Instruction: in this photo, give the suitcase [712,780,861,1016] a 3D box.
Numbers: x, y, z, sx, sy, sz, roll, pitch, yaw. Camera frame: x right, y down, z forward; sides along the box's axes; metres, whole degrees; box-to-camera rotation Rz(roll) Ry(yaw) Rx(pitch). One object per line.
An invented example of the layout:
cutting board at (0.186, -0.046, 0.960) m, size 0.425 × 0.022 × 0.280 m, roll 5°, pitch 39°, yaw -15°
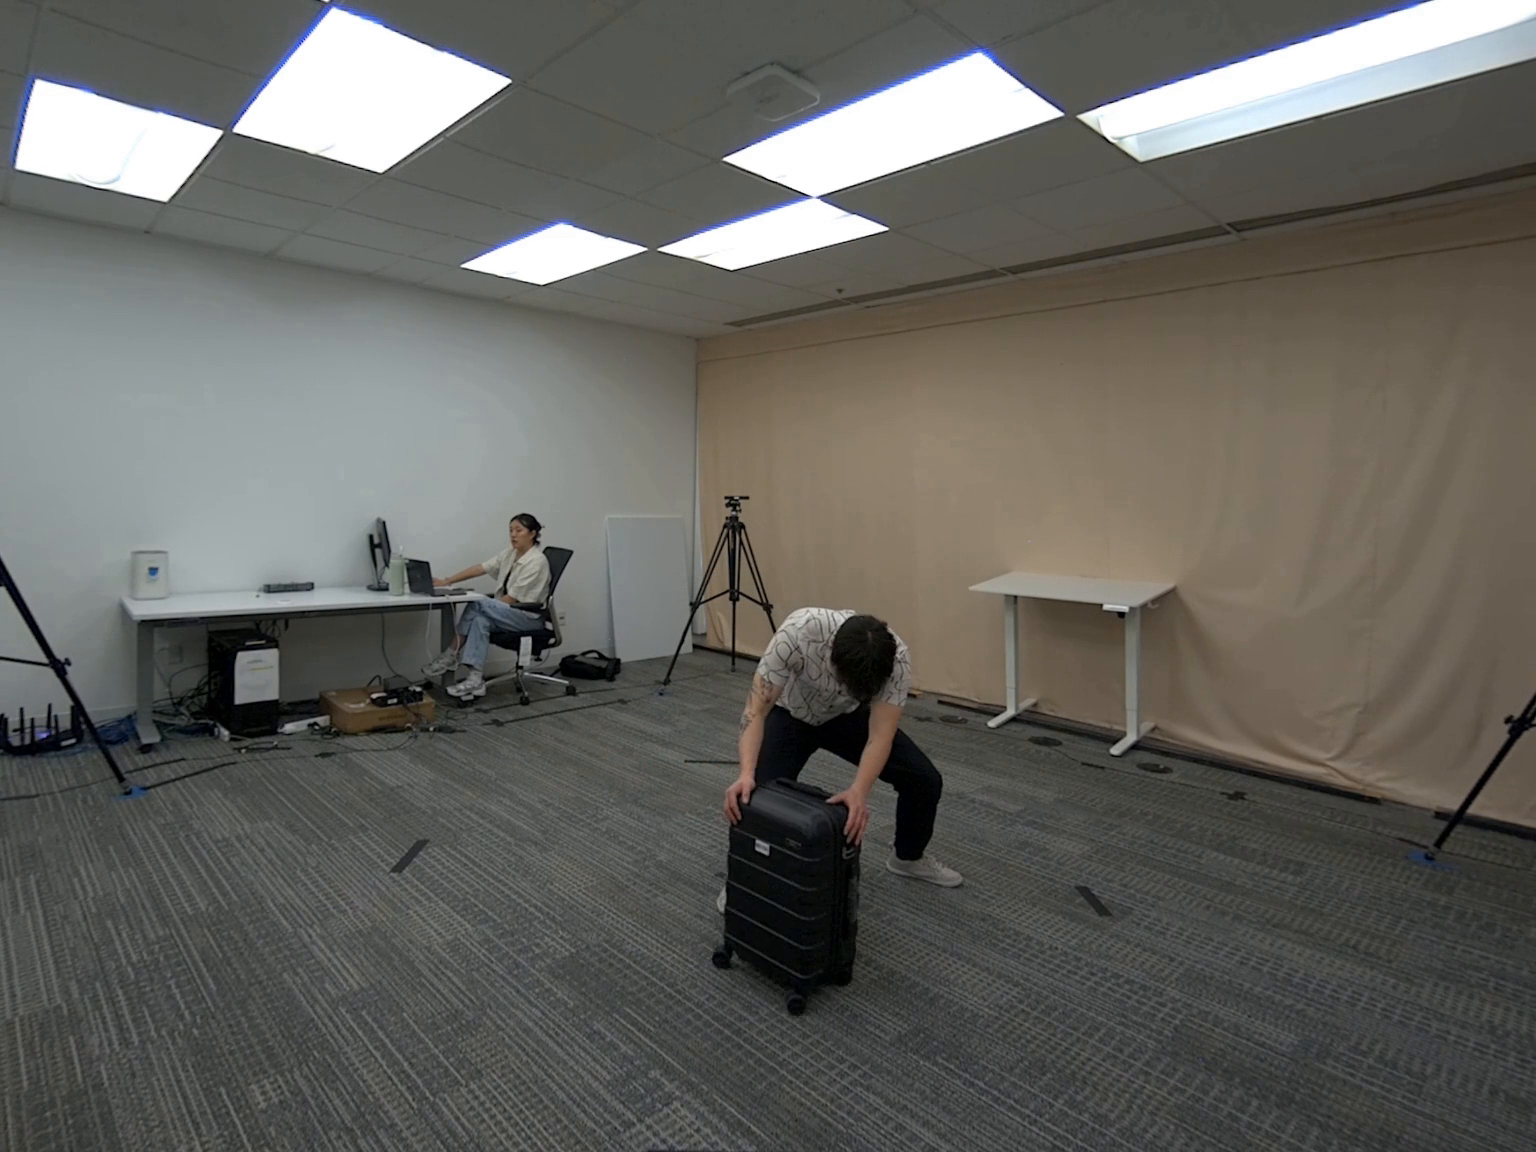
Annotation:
suitcase at (0.064, 0.903, 2.447) m, size 0.385 × 0.548 × 0.242 m, roll 6°, pitch 5°, yaw 43°
